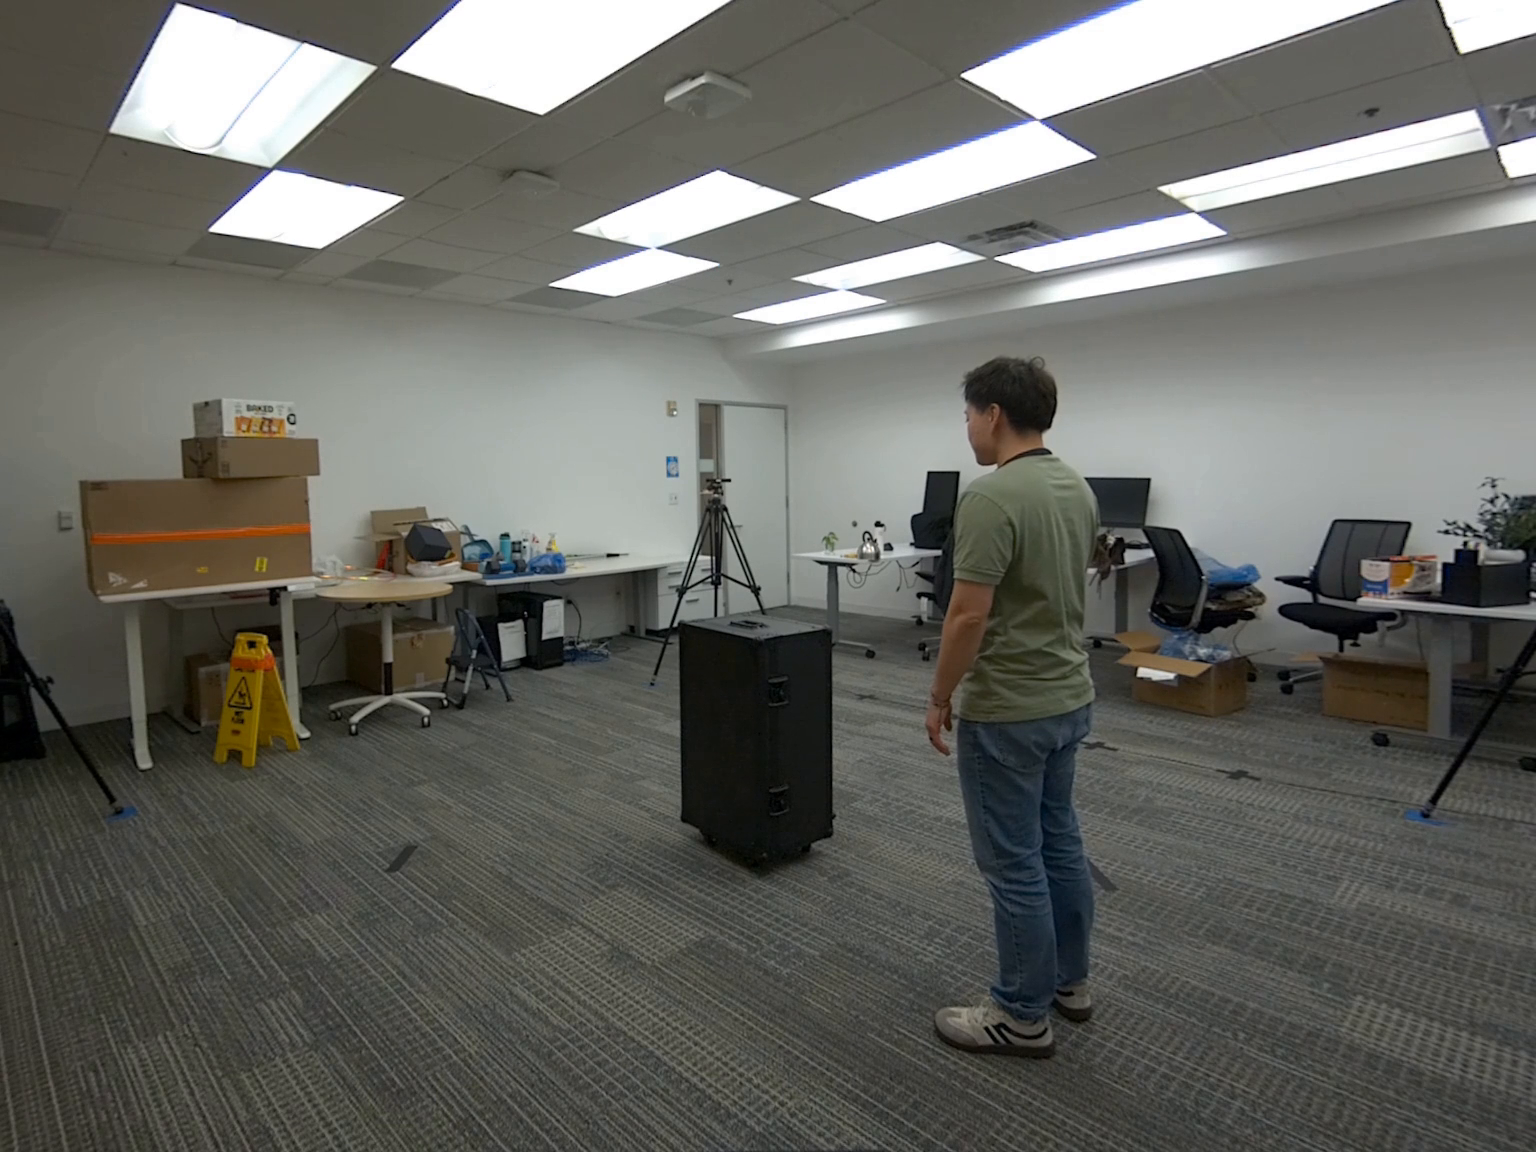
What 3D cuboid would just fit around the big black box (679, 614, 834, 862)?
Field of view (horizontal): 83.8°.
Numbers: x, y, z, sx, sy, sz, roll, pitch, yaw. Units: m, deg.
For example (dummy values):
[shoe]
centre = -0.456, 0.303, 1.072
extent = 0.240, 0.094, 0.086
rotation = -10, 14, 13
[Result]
[big black box]
centre = -0.044, 0.603, 3.236
extent = 0.385, 0.859, 0.537
rotation = -3, 4, -40
